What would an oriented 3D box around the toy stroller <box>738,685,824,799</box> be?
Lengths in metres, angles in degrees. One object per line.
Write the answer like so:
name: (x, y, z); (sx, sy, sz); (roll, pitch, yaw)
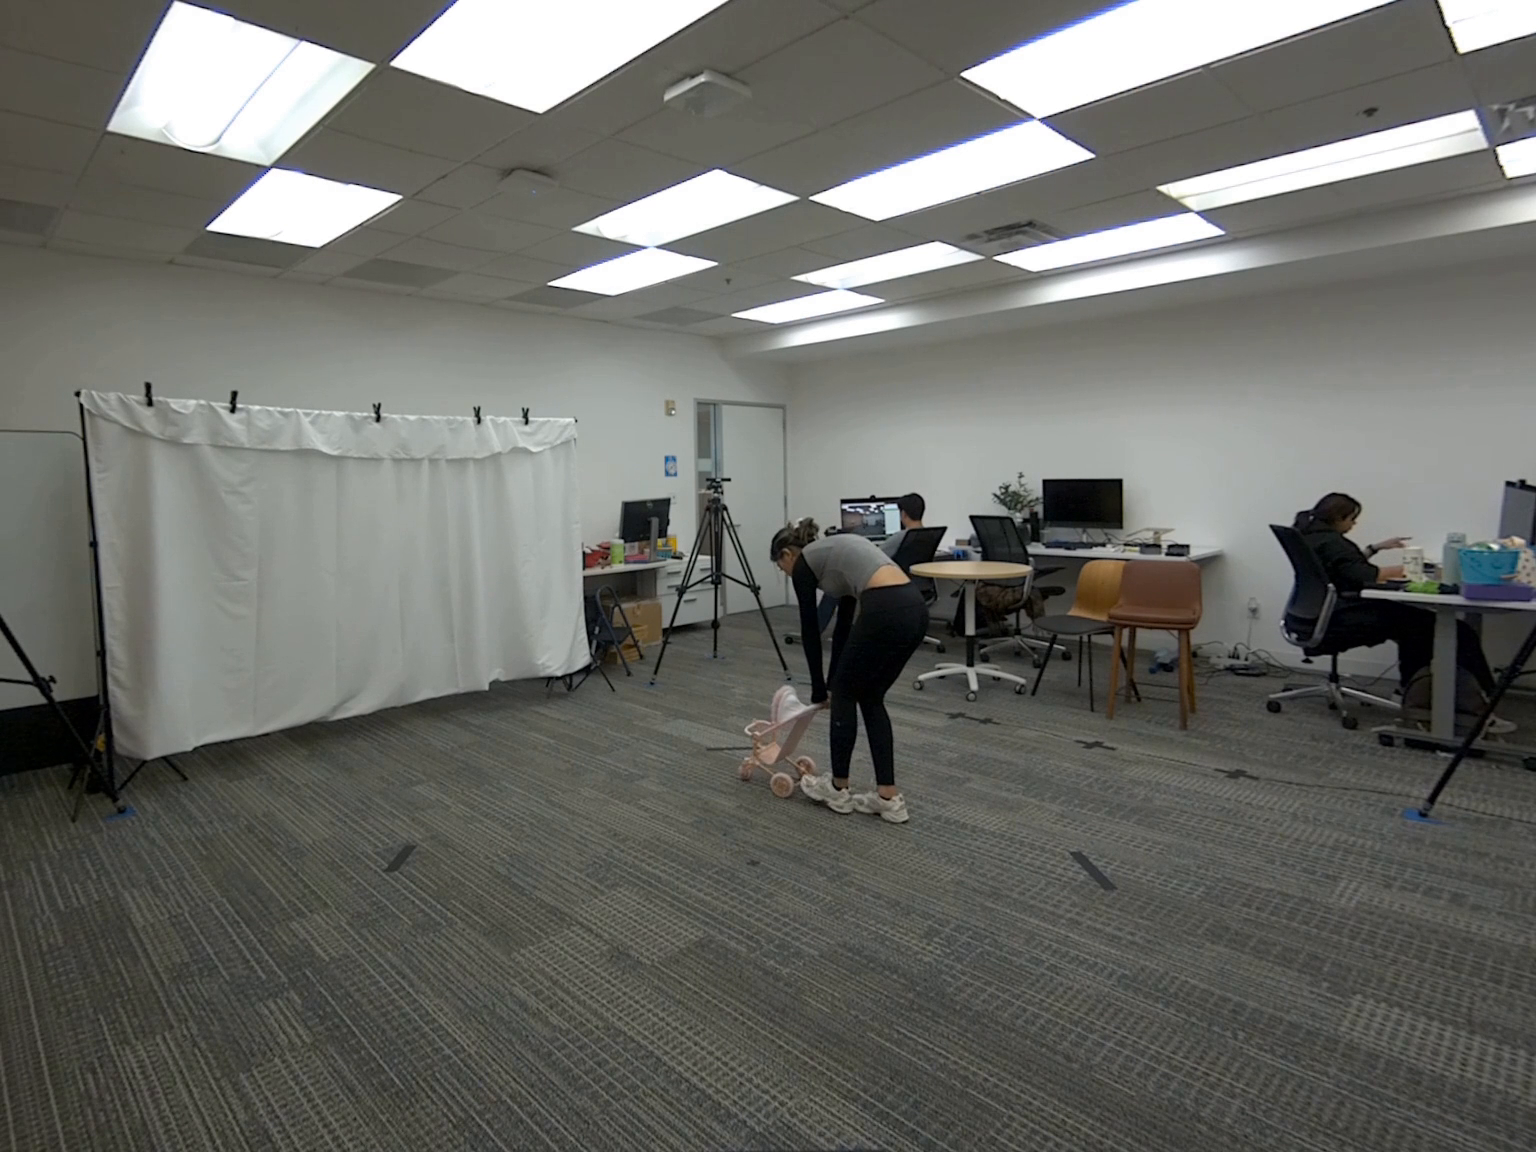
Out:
toy stroller: (0.061, 0.730, 3.865); (0.353, 0.530, 0.274); (21, 15, 31)
